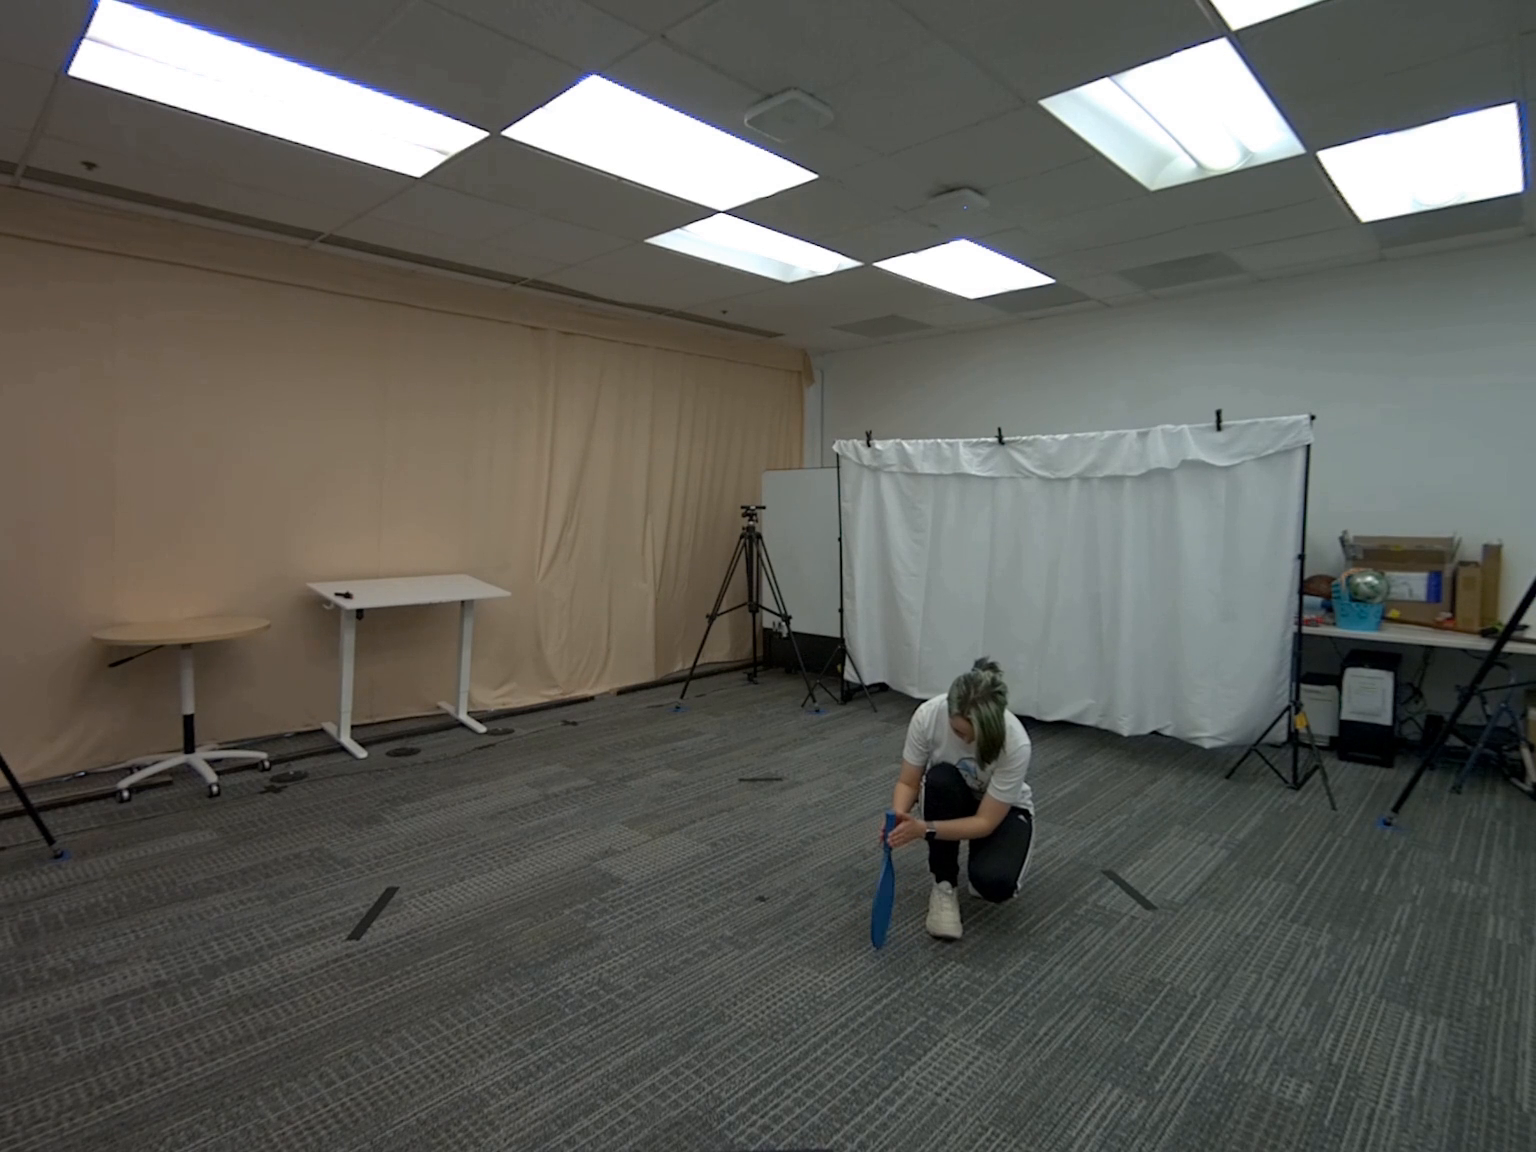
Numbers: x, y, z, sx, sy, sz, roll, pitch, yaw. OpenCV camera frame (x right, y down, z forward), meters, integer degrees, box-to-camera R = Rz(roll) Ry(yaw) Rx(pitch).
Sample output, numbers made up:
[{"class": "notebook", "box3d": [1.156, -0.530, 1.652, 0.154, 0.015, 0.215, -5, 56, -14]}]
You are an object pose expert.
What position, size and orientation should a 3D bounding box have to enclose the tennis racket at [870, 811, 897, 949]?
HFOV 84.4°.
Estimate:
[{"class": "tennis racket", "box3d": [0.377, 0.954, 2.651, 0.032, 0.432, 0.208, 7, 2, 26]}]
